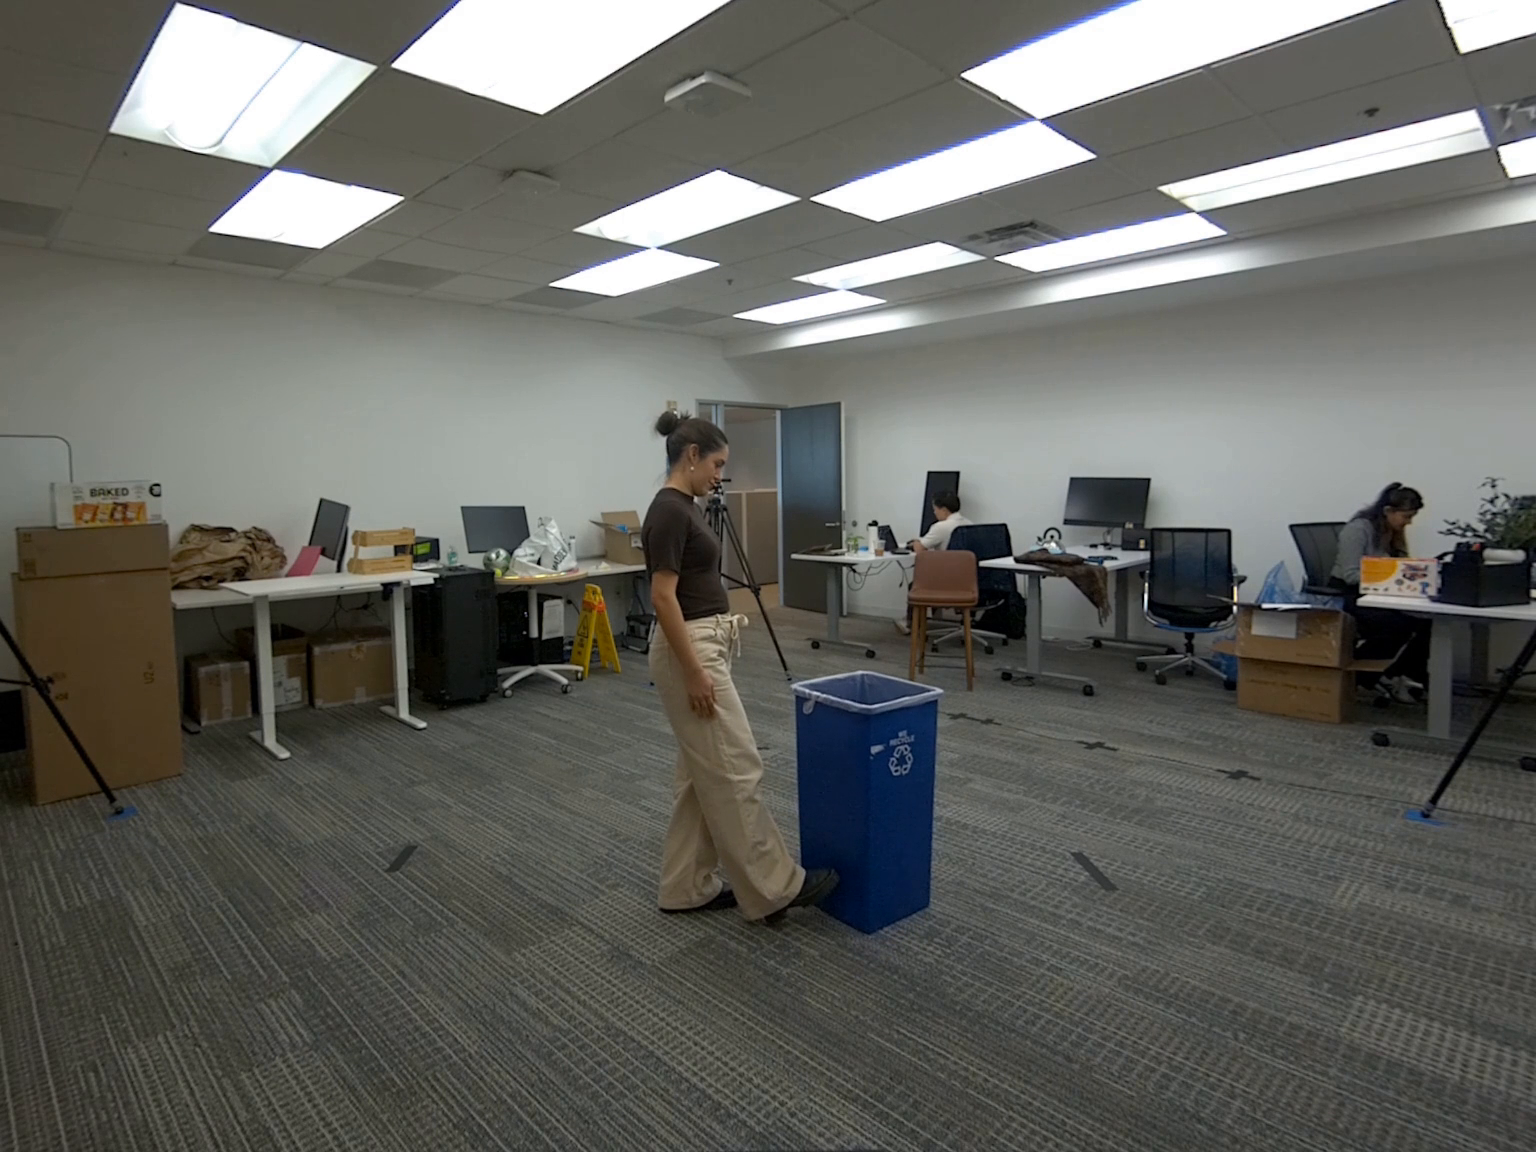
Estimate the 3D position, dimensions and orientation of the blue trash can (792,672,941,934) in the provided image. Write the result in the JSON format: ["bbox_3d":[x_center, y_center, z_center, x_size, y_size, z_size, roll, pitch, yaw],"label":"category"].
[{"bbox_3d":[0.329,0.714,2.786,0.368,0.711,0.385,-4,4,-39],"label":"blue trash can"}]
